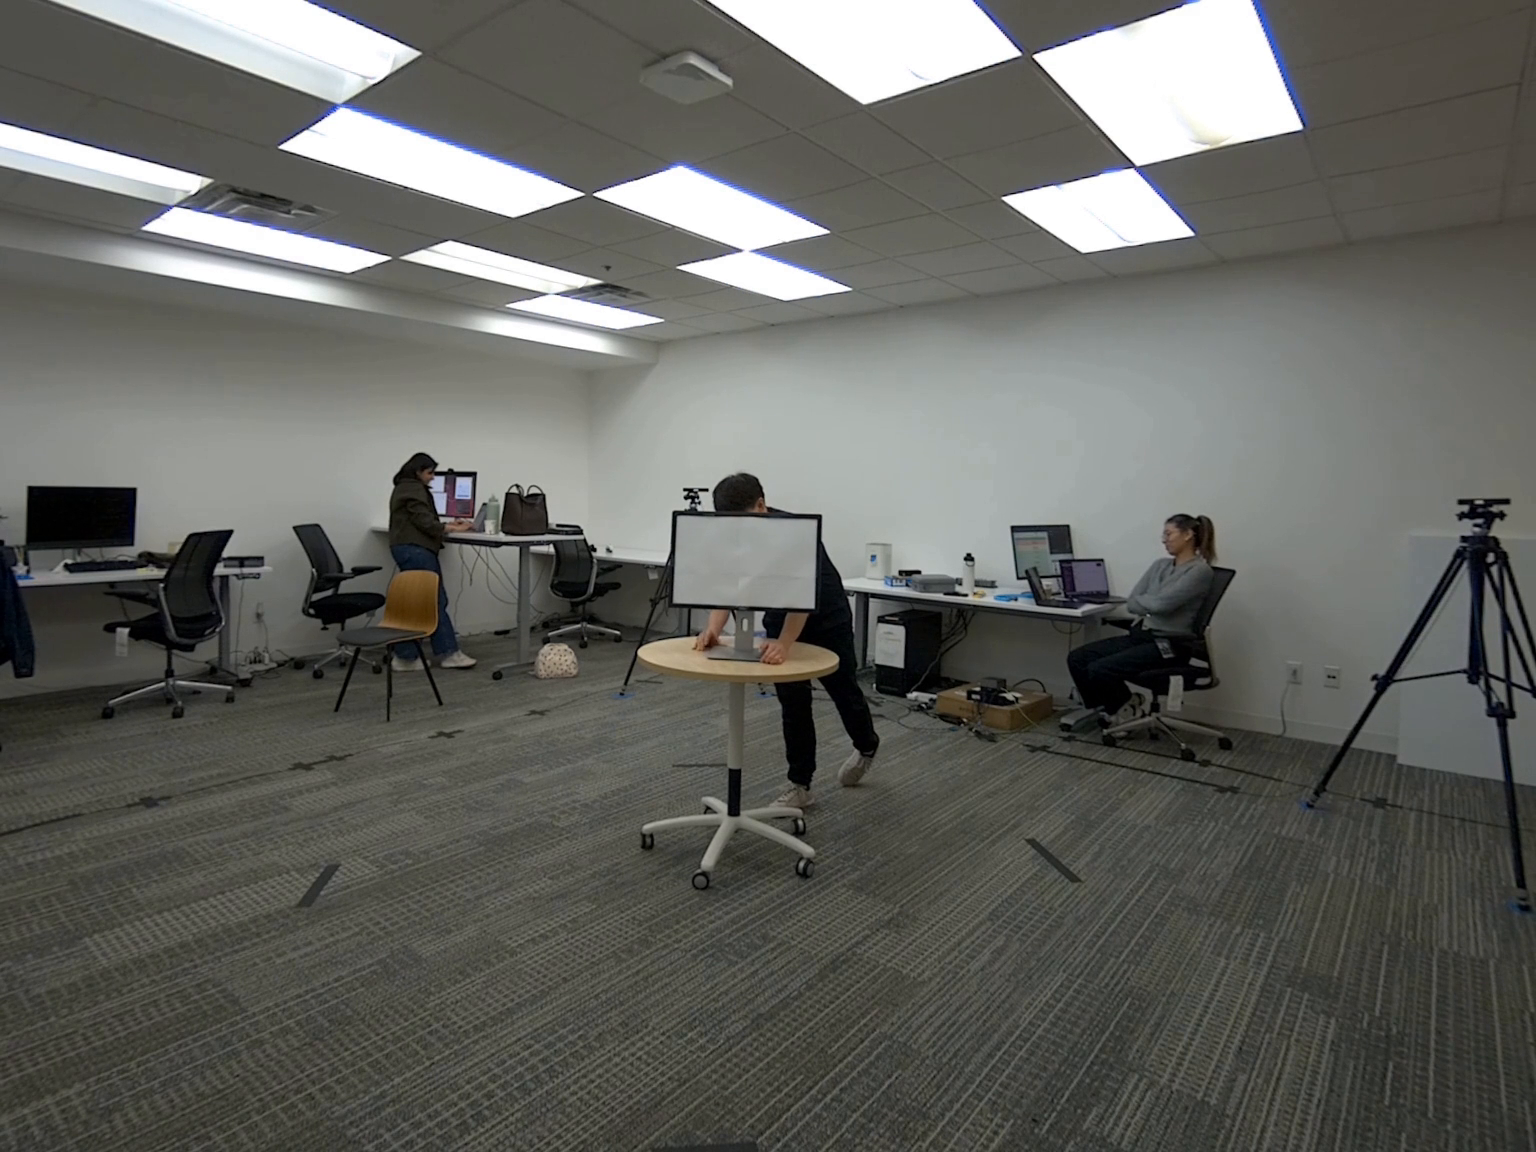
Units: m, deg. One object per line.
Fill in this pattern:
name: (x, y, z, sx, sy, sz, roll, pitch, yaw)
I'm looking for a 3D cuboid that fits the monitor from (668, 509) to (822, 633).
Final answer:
monitor: (-0.090, 0.031, 3.189, 0.543, 0.519, 0.187, 2, 7, 7)
